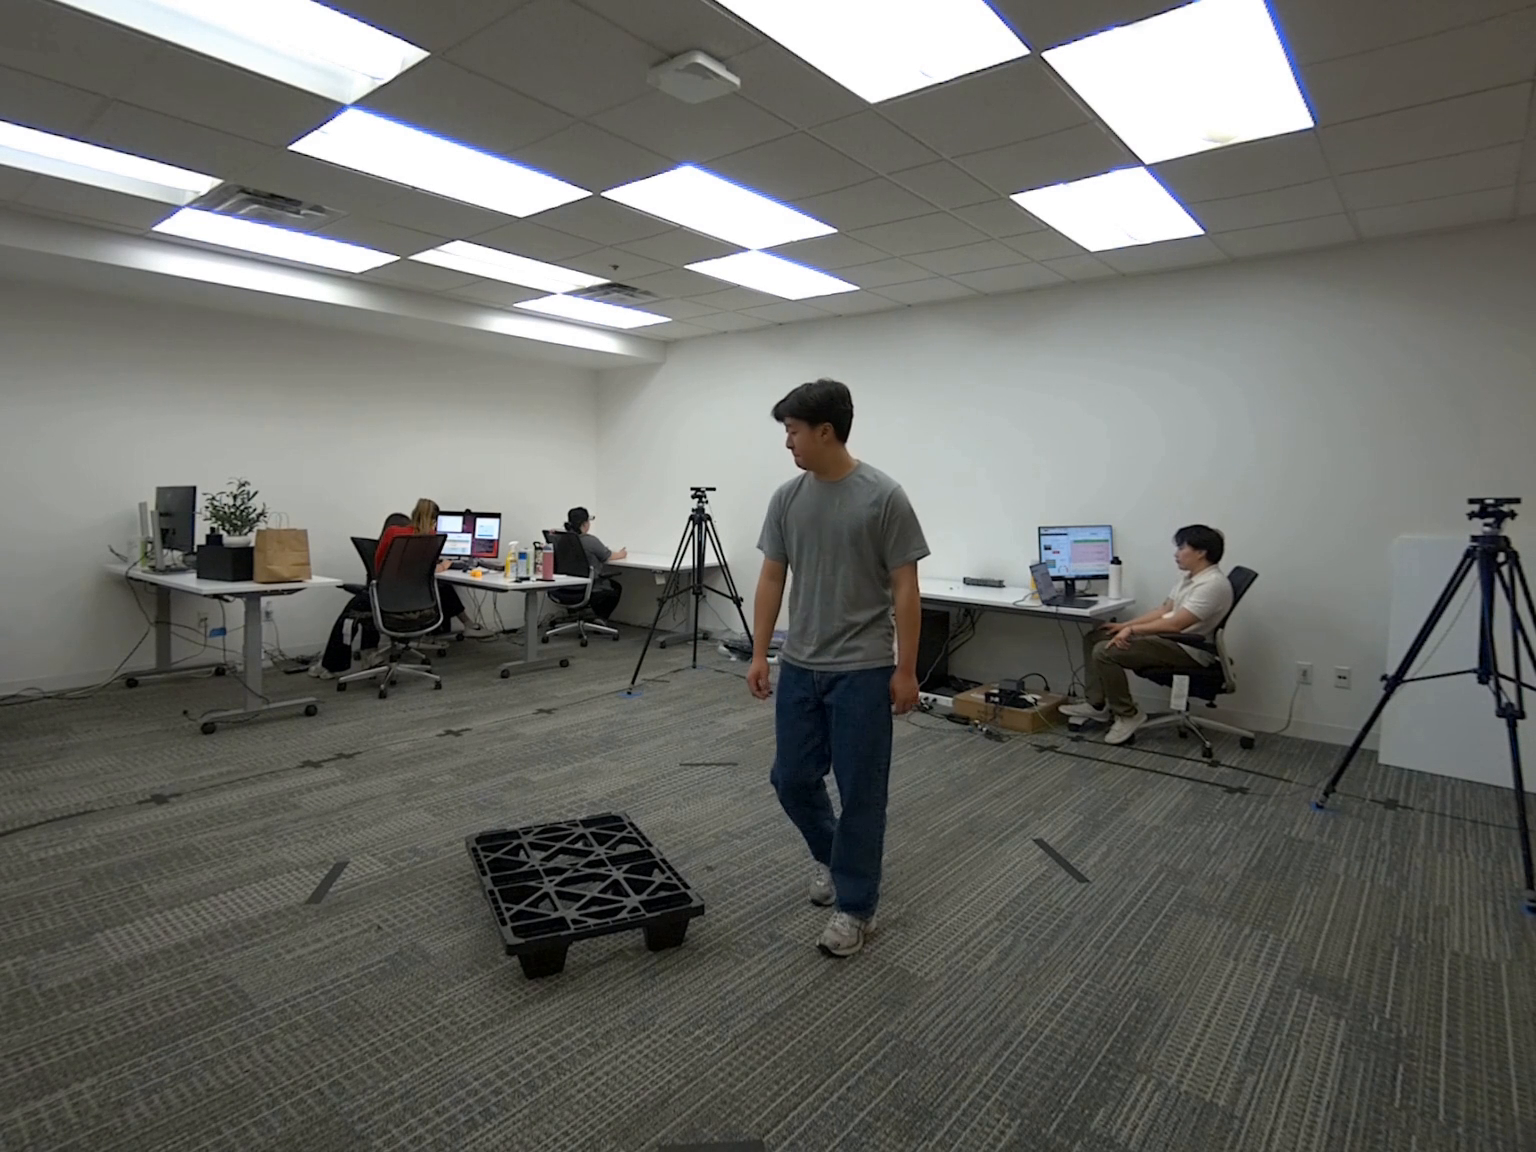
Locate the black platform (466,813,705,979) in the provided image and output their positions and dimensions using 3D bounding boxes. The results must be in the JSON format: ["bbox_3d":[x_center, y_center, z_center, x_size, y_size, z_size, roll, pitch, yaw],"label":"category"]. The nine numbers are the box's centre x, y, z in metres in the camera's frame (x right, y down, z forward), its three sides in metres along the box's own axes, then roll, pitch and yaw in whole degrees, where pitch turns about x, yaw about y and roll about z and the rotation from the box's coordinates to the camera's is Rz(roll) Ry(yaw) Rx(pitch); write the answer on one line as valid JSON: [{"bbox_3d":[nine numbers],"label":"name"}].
[{"bbox_3d":[-0.644,1.021,2.812,0.591,0.143,0.829,-2,7,-26],"label":"black platform"}]
